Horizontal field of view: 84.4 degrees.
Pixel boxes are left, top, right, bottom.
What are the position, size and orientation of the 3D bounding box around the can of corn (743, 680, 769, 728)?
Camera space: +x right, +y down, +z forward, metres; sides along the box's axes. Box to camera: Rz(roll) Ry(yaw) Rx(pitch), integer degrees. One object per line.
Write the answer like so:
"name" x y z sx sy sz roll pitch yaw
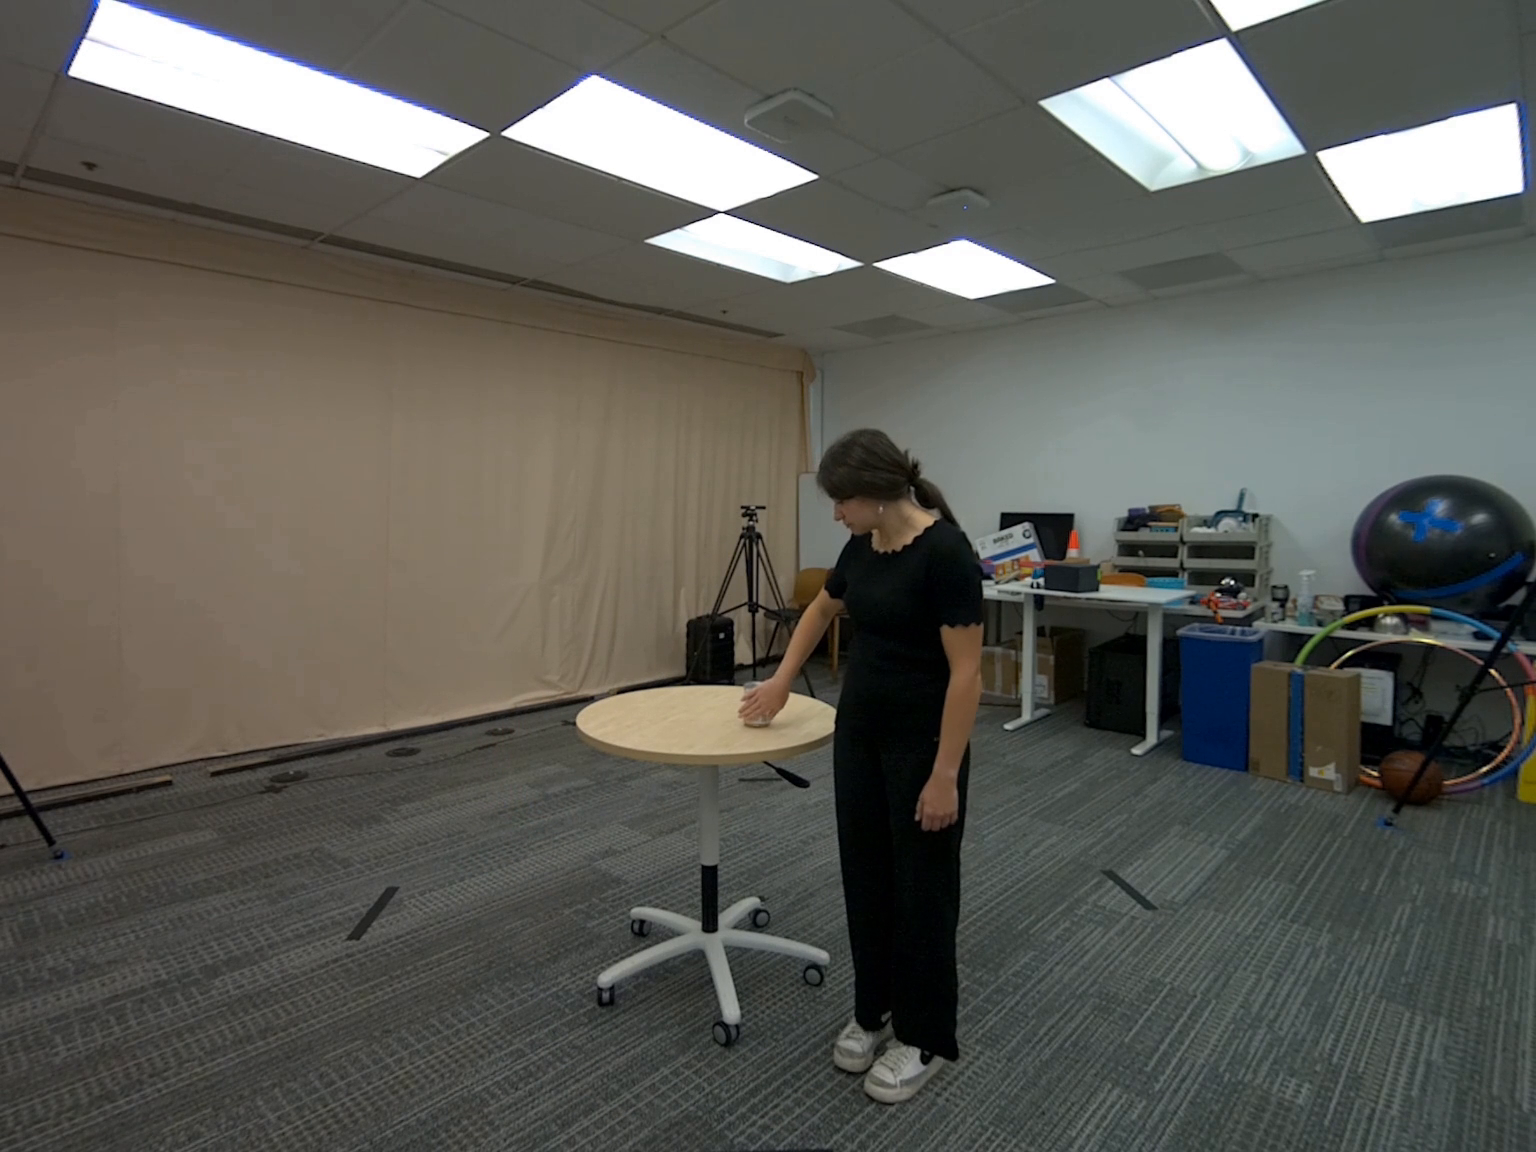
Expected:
"can of corn" -0.022 0.360 2.346 0.074 0.110 0.074 0 6 -2
